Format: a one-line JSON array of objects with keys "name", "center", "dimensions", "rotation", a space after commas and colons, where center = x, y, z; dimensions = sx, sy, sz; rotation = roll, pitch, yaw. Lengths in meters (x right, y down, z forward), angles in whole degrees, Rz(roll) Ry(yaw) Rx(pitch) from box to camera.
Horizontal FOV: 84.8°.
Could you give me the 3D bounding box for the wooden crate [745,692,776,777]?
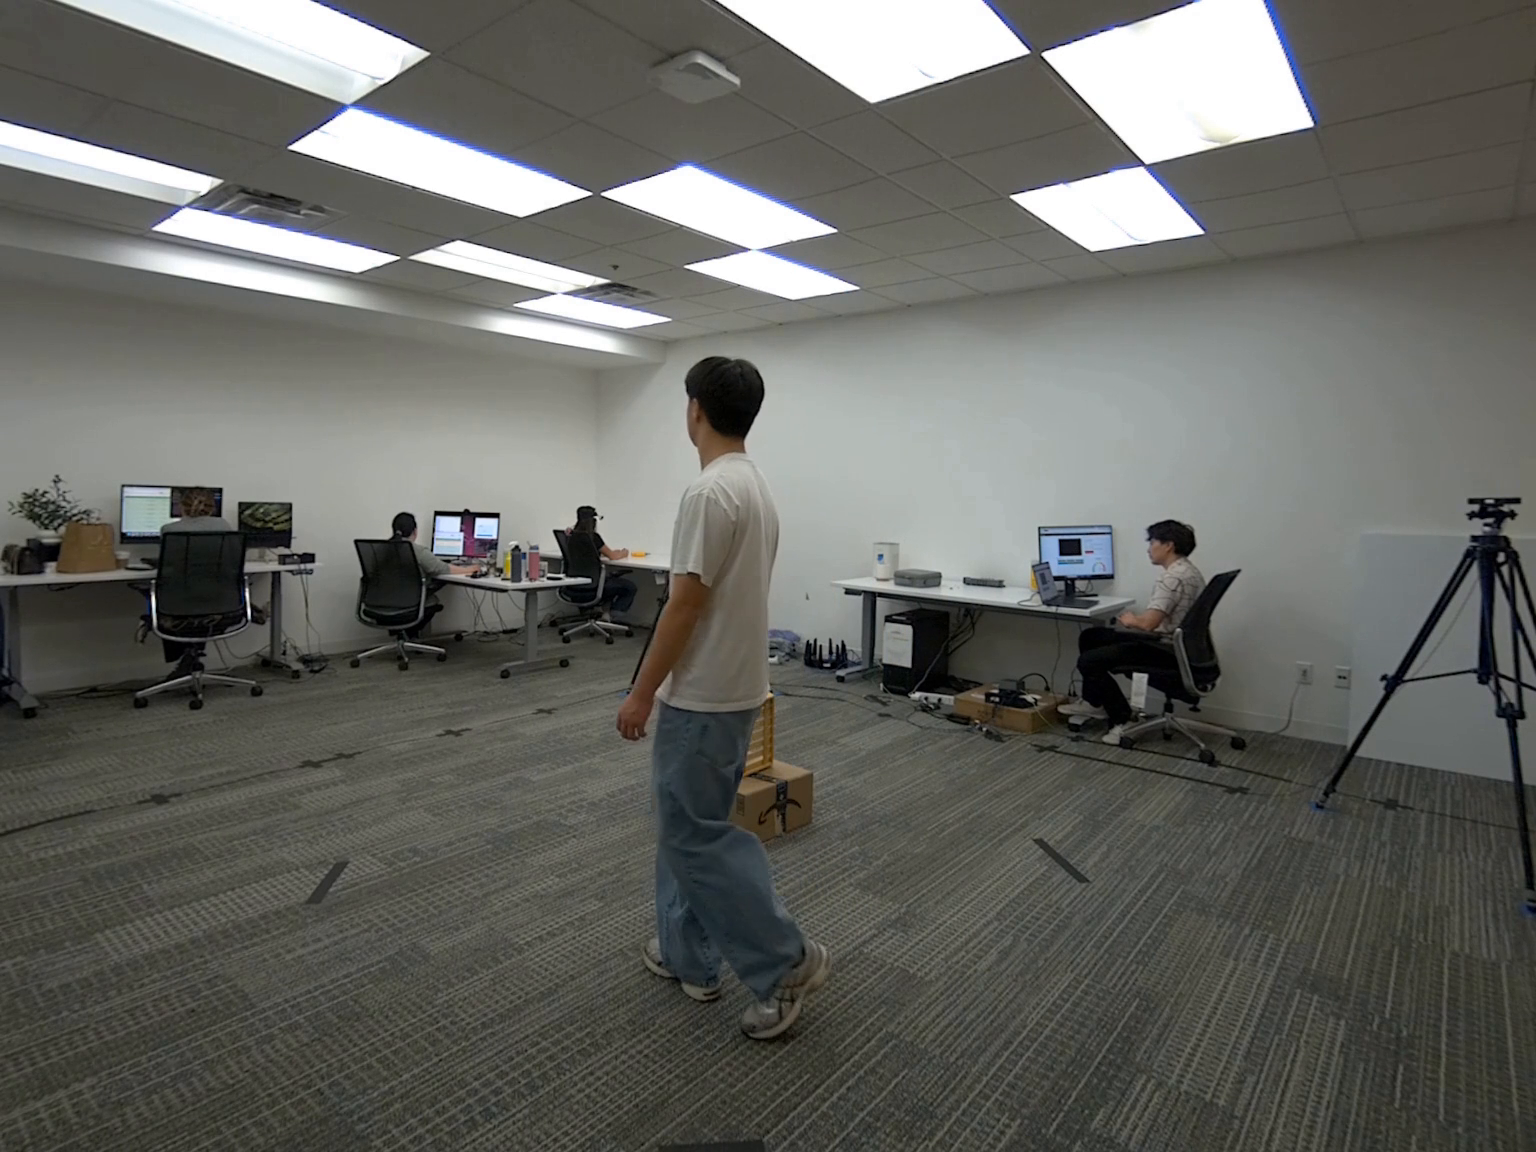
[{"name": "wooden crate", "center": [-0.169, 0.642, 3.593], "dimensions": [0.283, 0.322, 0.294], "rotation": [8, 10, 41]}]
